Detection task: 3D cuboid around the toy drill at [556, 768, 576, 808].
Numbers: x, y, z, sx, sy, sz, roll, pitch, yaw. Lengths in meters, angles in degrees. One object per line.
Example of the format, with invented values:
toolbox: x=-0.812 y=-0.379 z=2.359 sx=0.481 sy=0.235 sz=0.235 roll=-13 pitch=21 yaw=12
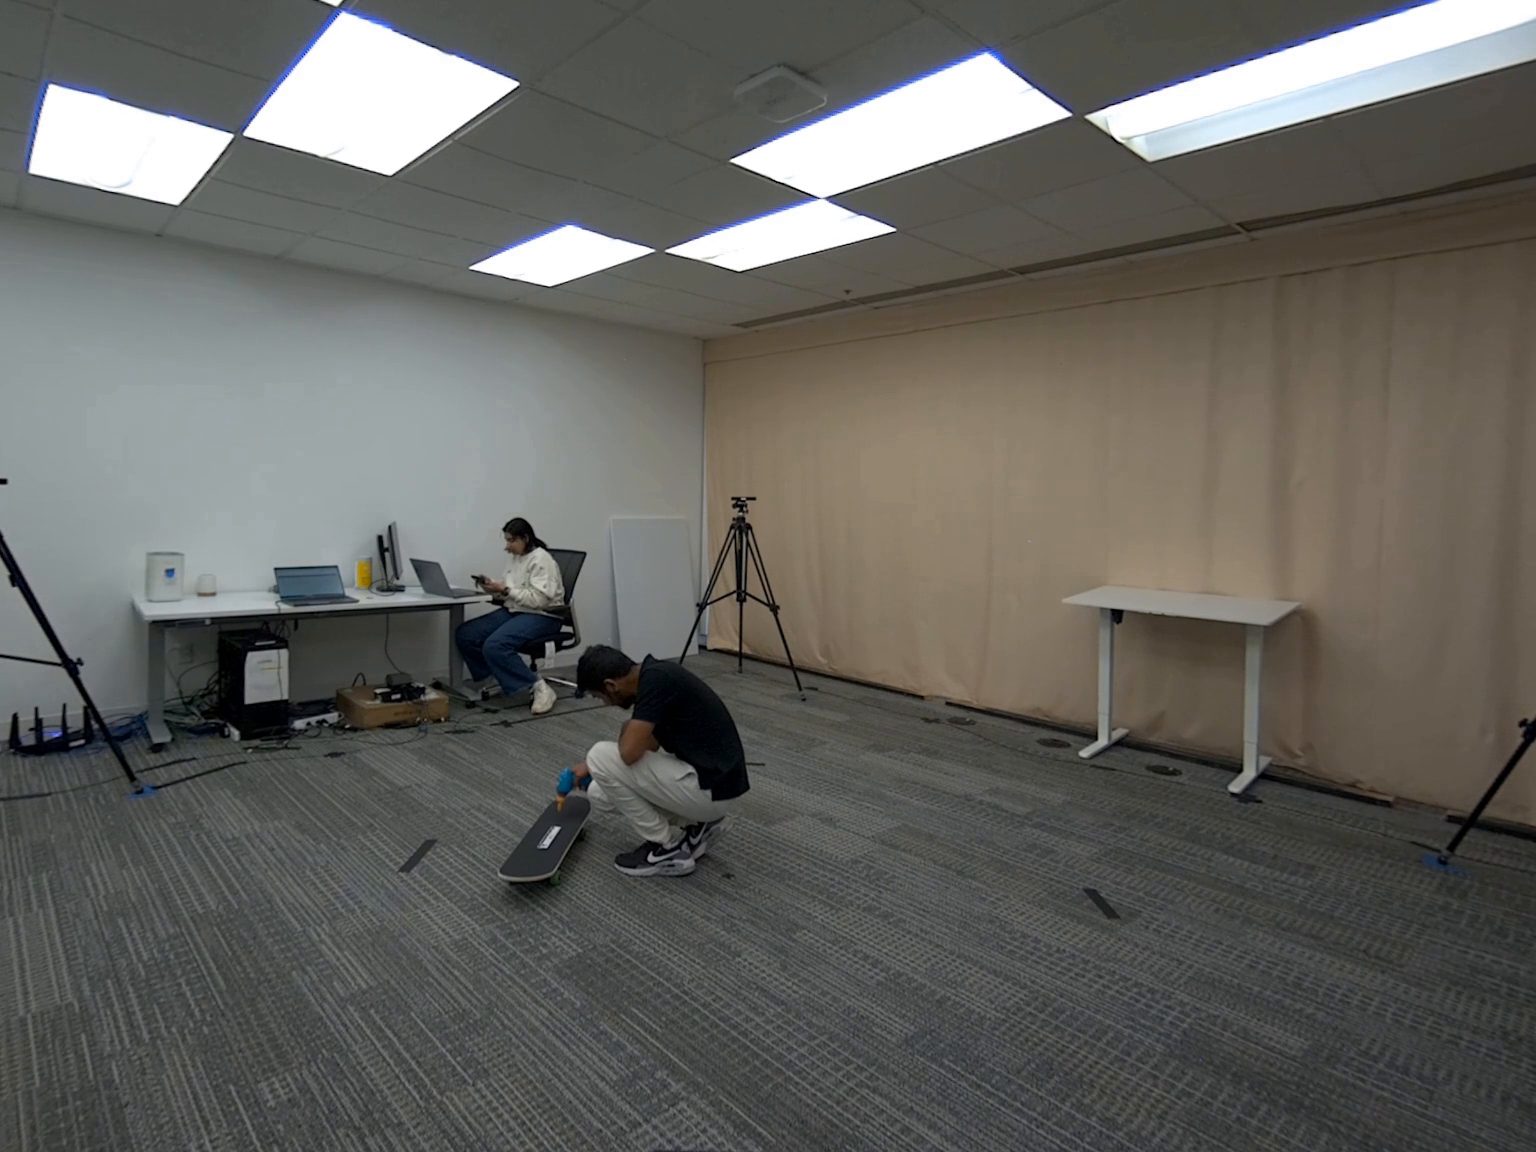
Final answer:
toy drill: x=-0.812 y=0.875 z=3.459 sx=0.143 sy=0.172 sz=0.062 roll=17 pitch=-21 yaw=-26
